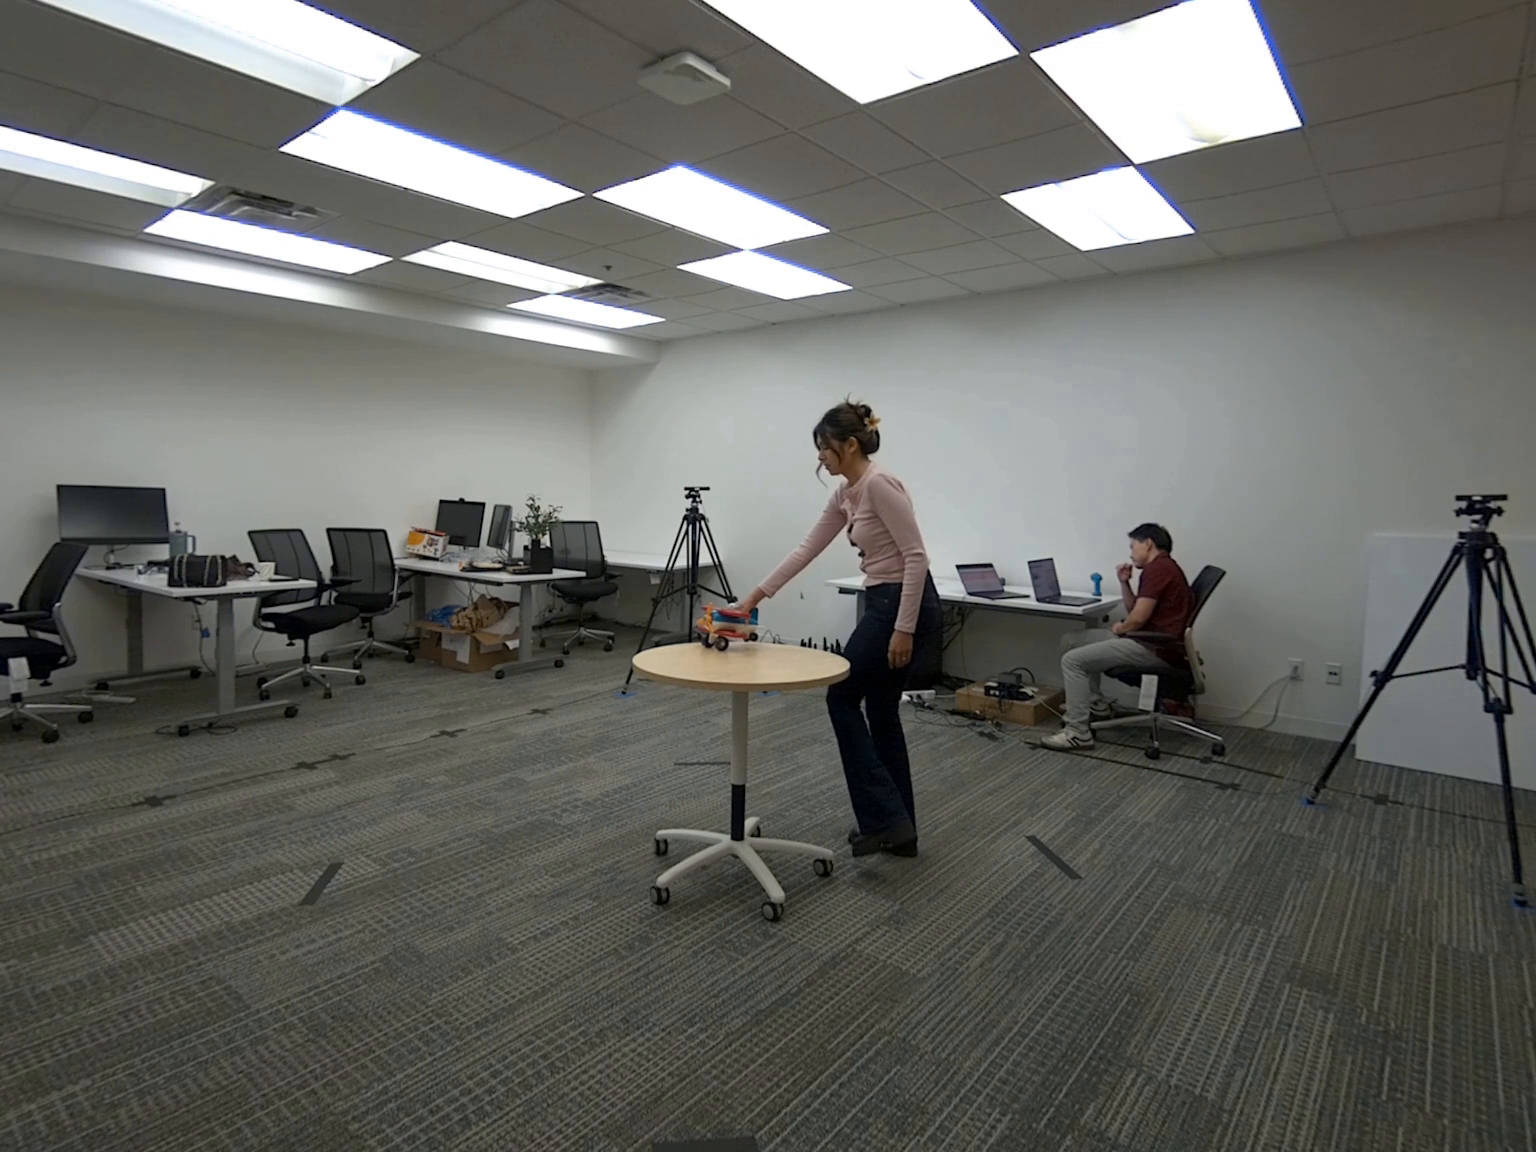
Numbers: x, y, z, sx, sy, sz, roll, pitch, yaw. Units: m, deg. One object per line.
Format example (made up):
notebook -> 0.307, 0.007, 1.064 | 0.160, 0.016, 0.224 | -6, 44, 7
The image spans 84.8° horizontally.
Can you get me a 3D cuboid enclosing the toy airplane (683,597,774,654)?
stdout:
toy airplane -> -0.153, 0.184, 3.271 | 0.257, 0.155, 0.254 | 0, 9, 26
